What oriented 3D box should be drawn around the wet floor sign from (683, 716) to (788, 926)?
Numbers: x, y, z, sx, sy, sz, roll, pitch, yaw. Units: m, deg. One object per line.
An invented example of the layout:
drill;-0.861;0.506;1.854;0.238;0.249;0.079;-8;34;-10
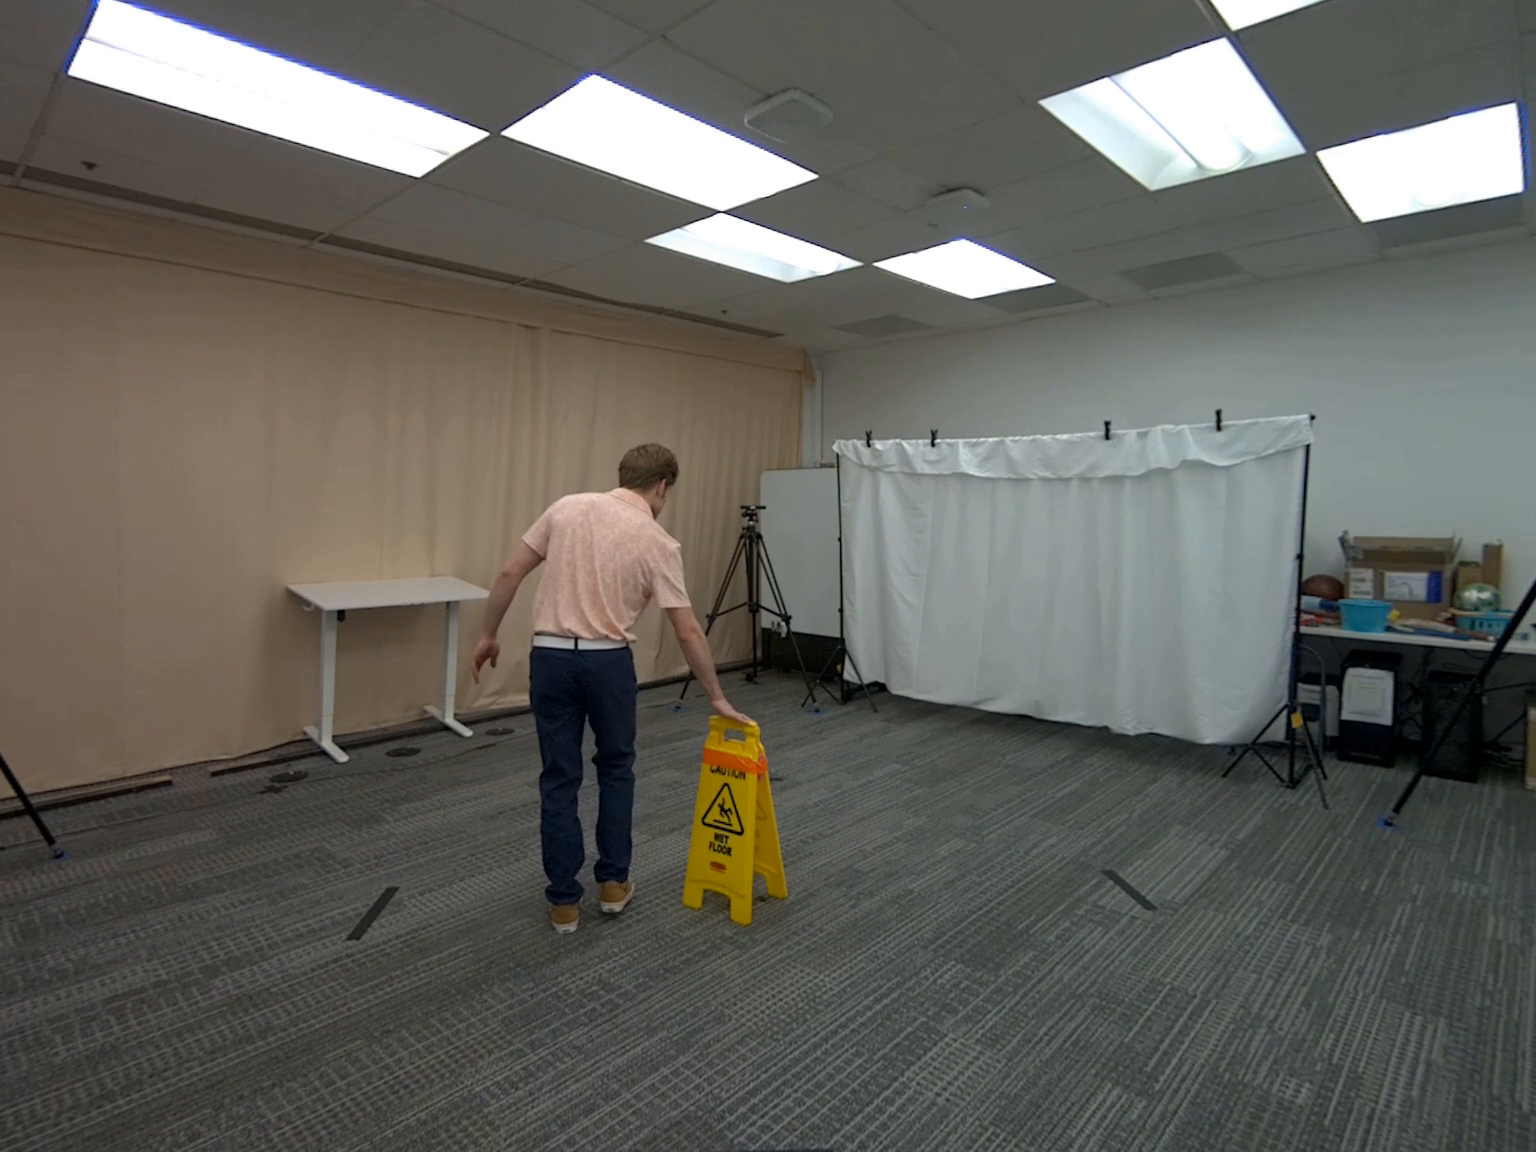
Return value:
wet floor sign;-0.114;0.823;2.948;0.291;0.645;0.281;3;3;35
